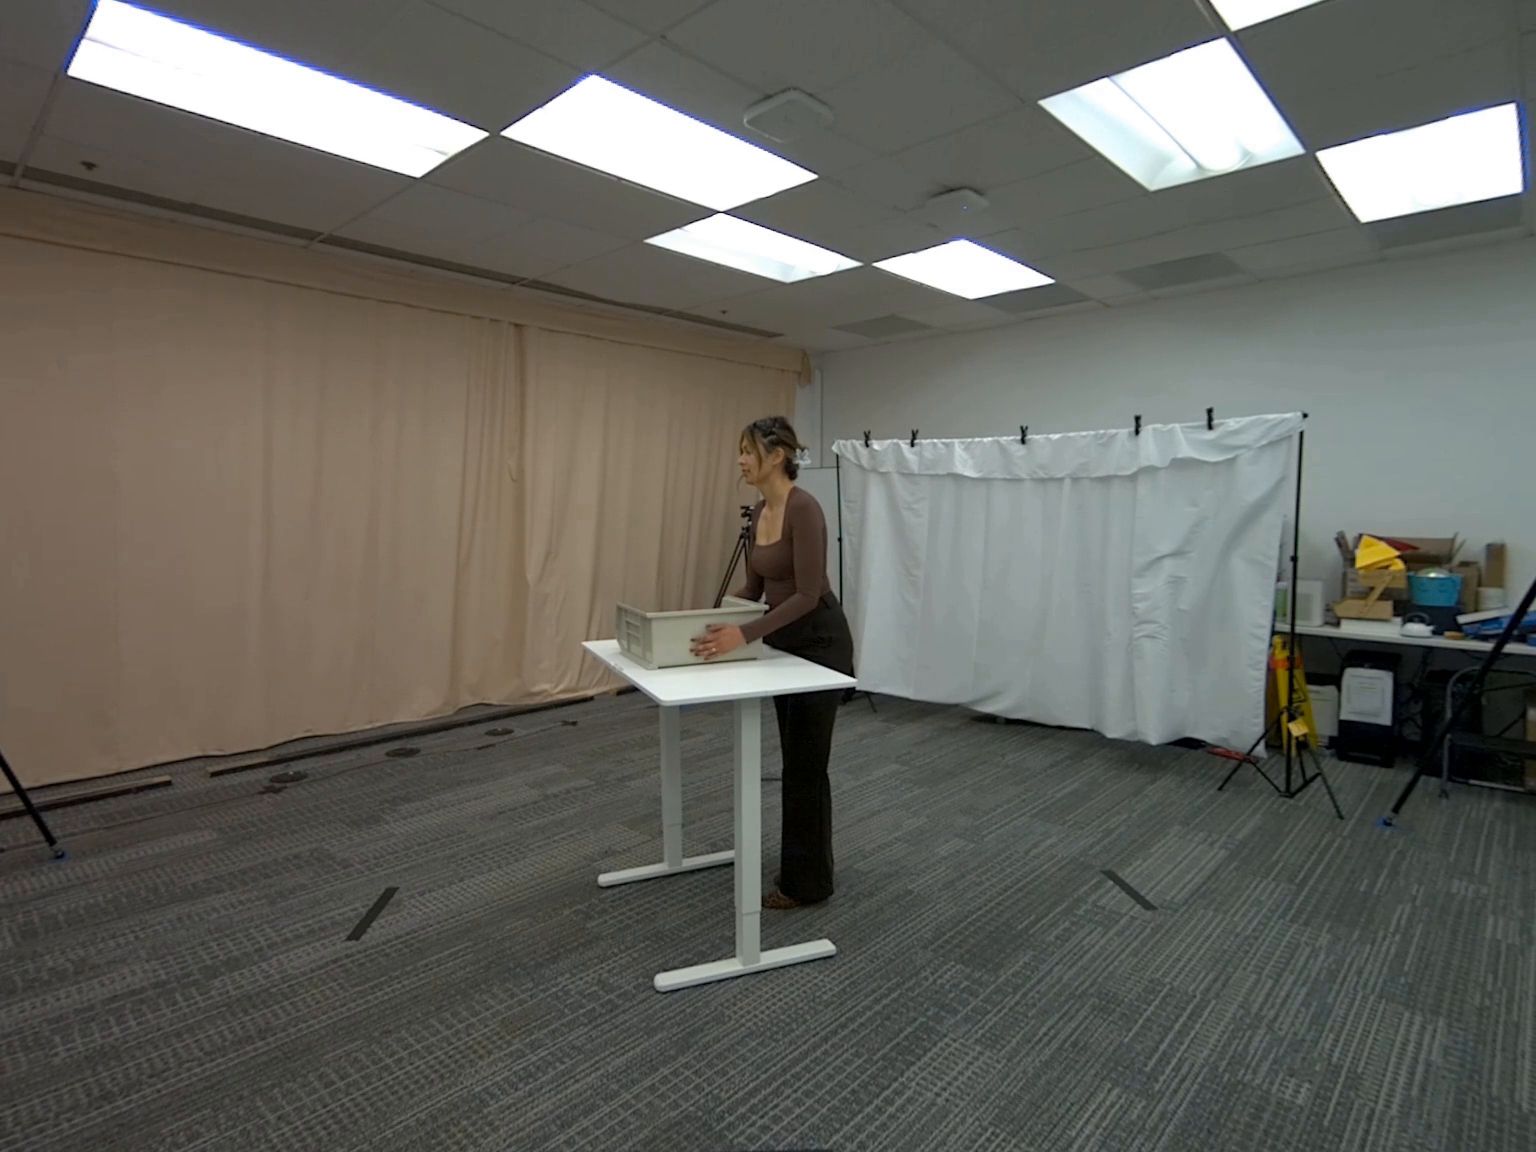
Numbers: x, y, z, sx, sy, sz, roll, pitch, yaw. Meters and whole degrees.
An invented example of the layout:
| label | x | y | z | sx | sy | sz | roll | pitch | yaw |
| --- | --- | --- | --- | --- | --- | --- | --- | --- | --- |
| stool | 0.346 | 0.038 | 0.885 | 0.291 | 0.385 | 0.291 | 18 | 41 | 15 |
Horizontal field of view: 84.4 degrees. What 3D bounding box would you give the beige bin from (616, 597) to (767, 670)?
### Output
| label | x | y | z | sx | sy | sz | roll | pitch | yaw |
| --- | --- | --- | --- | --- | --- | --- | --- | --- | --- |
| beige bin | -0.274 | 0.187 | 2.859 | 0.412 | 0.188 | 0.388 | -2 | 6 | -26 |
